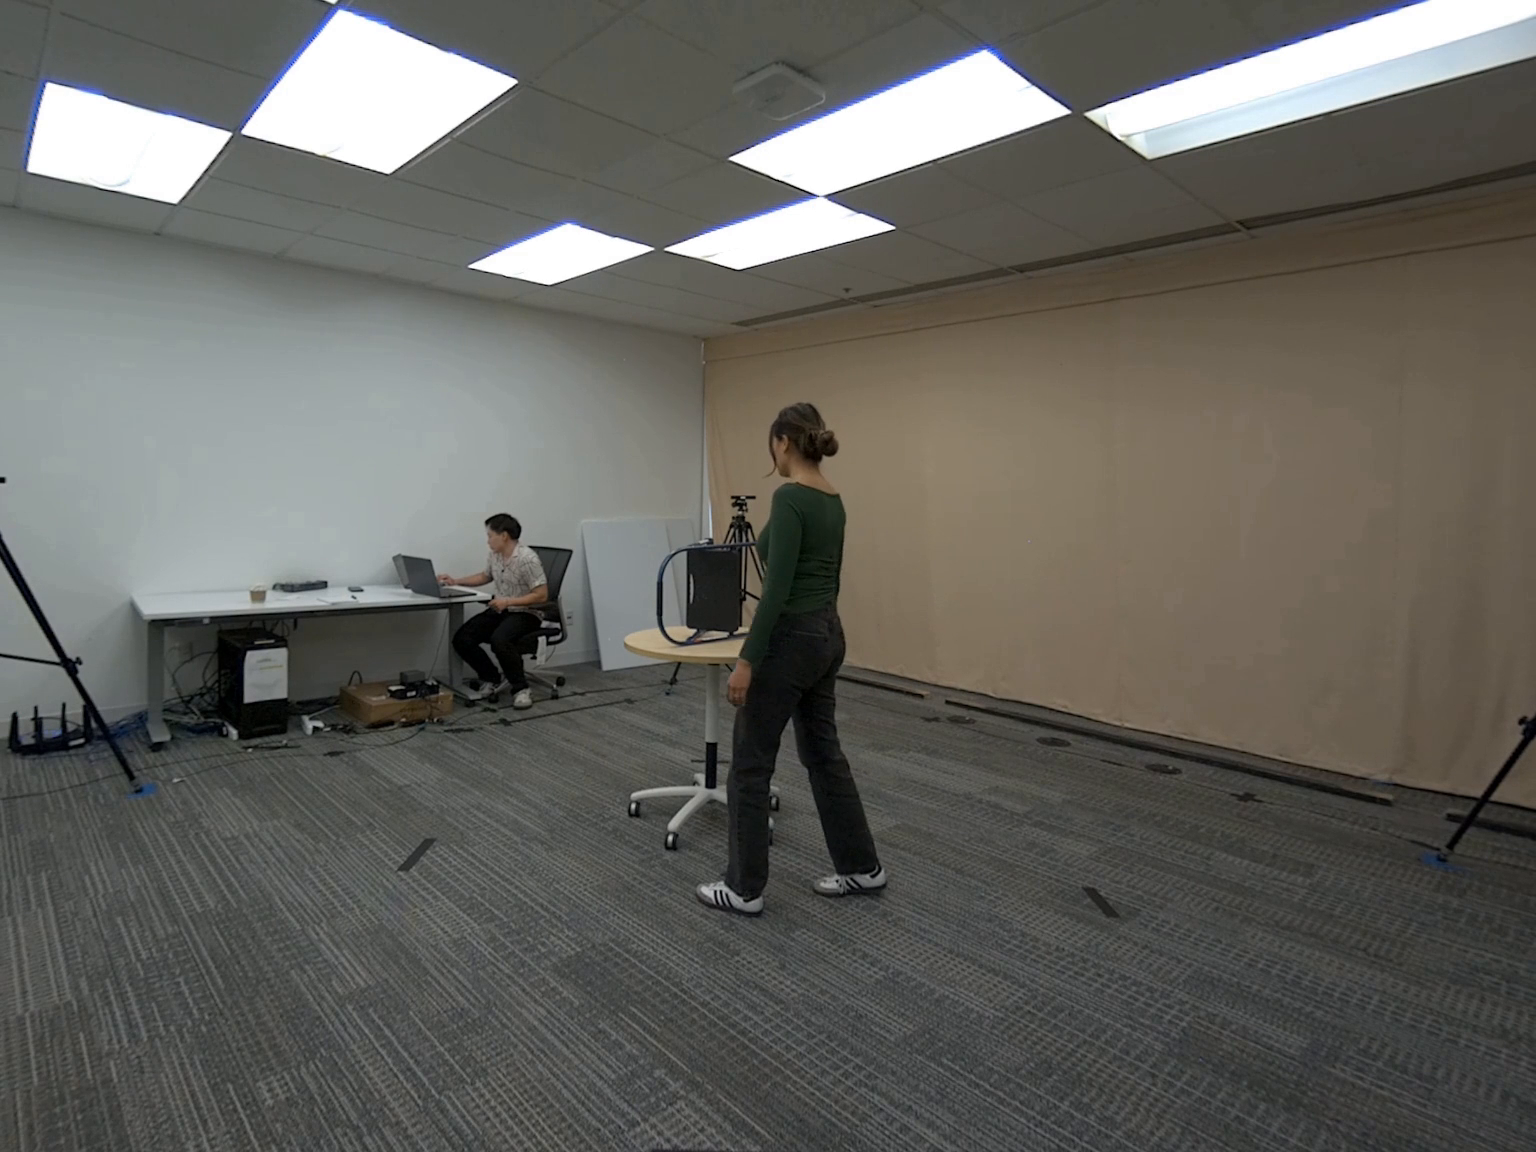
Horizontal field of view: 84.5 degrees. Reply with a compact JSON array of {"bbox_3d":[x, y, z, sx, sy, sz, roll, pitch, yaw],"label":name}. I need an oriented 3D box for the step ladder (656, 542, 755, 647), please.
[{"bbox_3d":[-0.245,0.066,3.570,0.356,0.429,0.596,2,6,25],"label":"step ladder"}]
